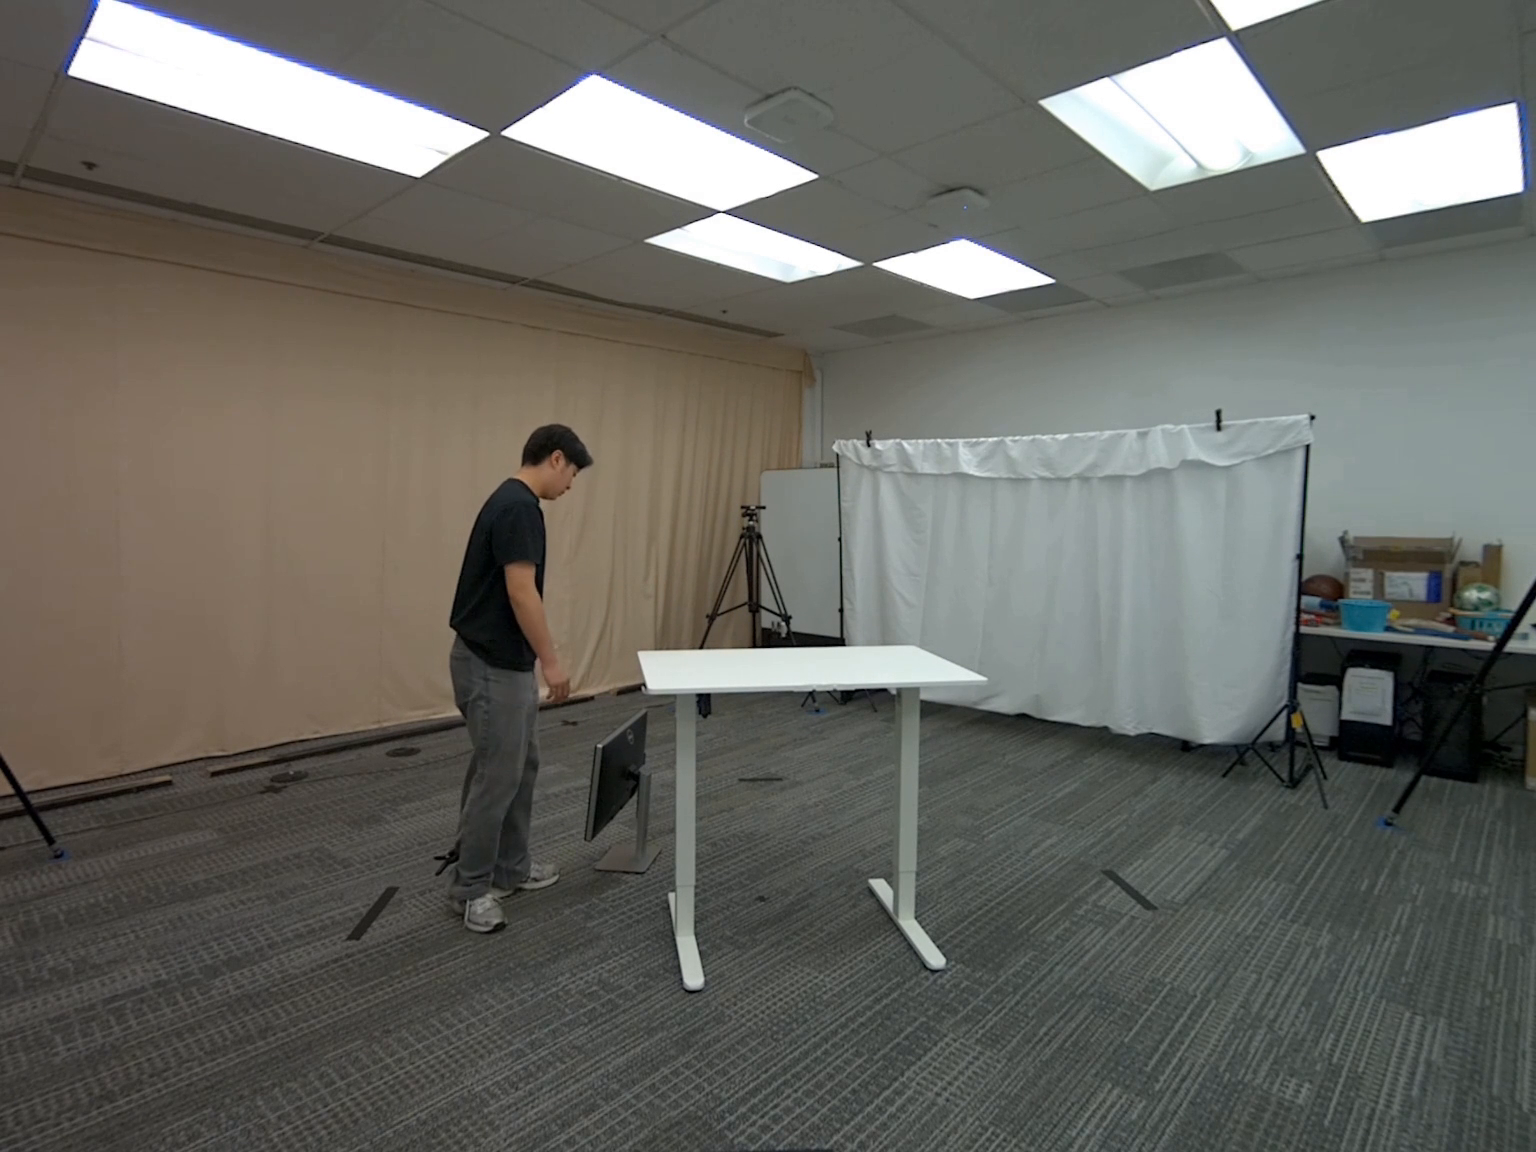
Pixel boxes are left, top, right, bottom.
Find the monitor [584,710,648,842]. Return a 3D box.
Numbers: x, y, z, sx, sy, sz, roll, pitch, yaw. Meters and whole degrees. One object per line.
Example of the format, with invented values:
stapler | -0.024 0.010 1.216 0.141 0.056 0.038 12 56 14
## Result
monitor | -0.559 0.866 3.306 0.225 0.565 0.555 -4 3 13
